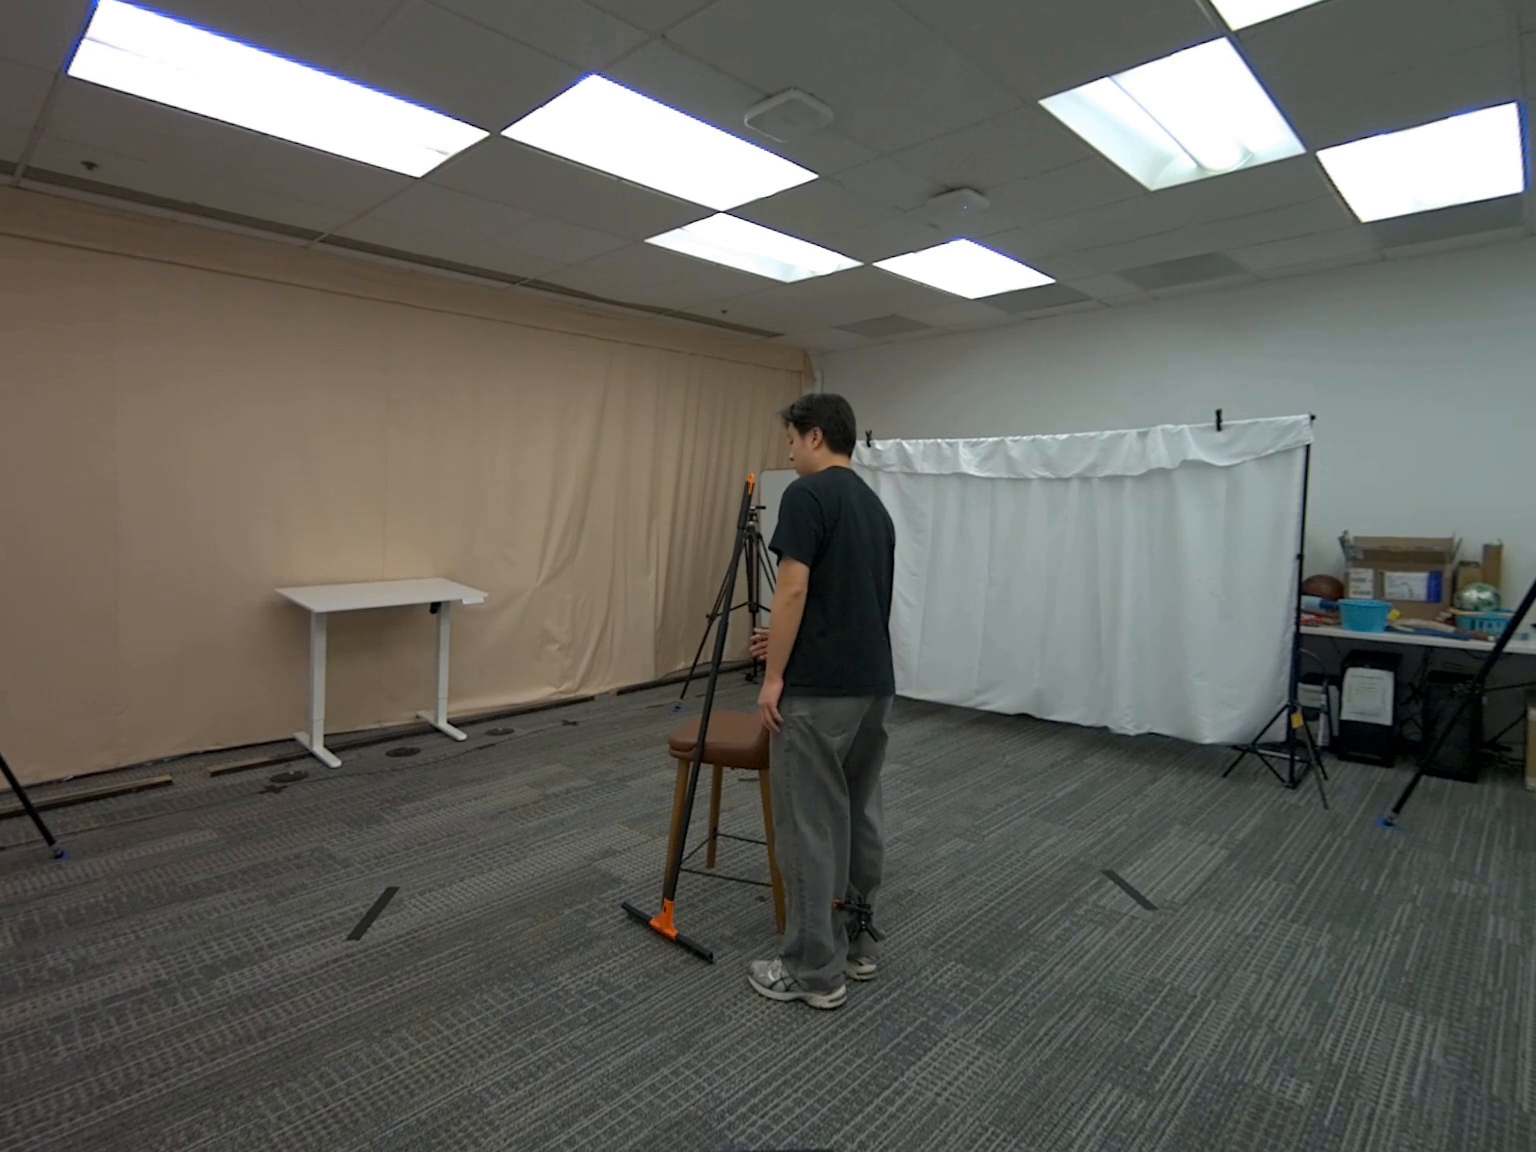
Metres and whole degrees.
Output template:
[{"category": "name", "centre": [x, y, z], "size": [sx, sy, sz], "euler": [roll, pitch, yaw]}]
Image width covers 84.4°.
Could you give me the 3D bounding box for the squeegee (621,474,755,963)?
[{"category": "squeegee", "centre": [-0.196, 0.409, 2.783], "size": [0.051, 1.541, 0.452], "euler": [14, -7, -40]}]
